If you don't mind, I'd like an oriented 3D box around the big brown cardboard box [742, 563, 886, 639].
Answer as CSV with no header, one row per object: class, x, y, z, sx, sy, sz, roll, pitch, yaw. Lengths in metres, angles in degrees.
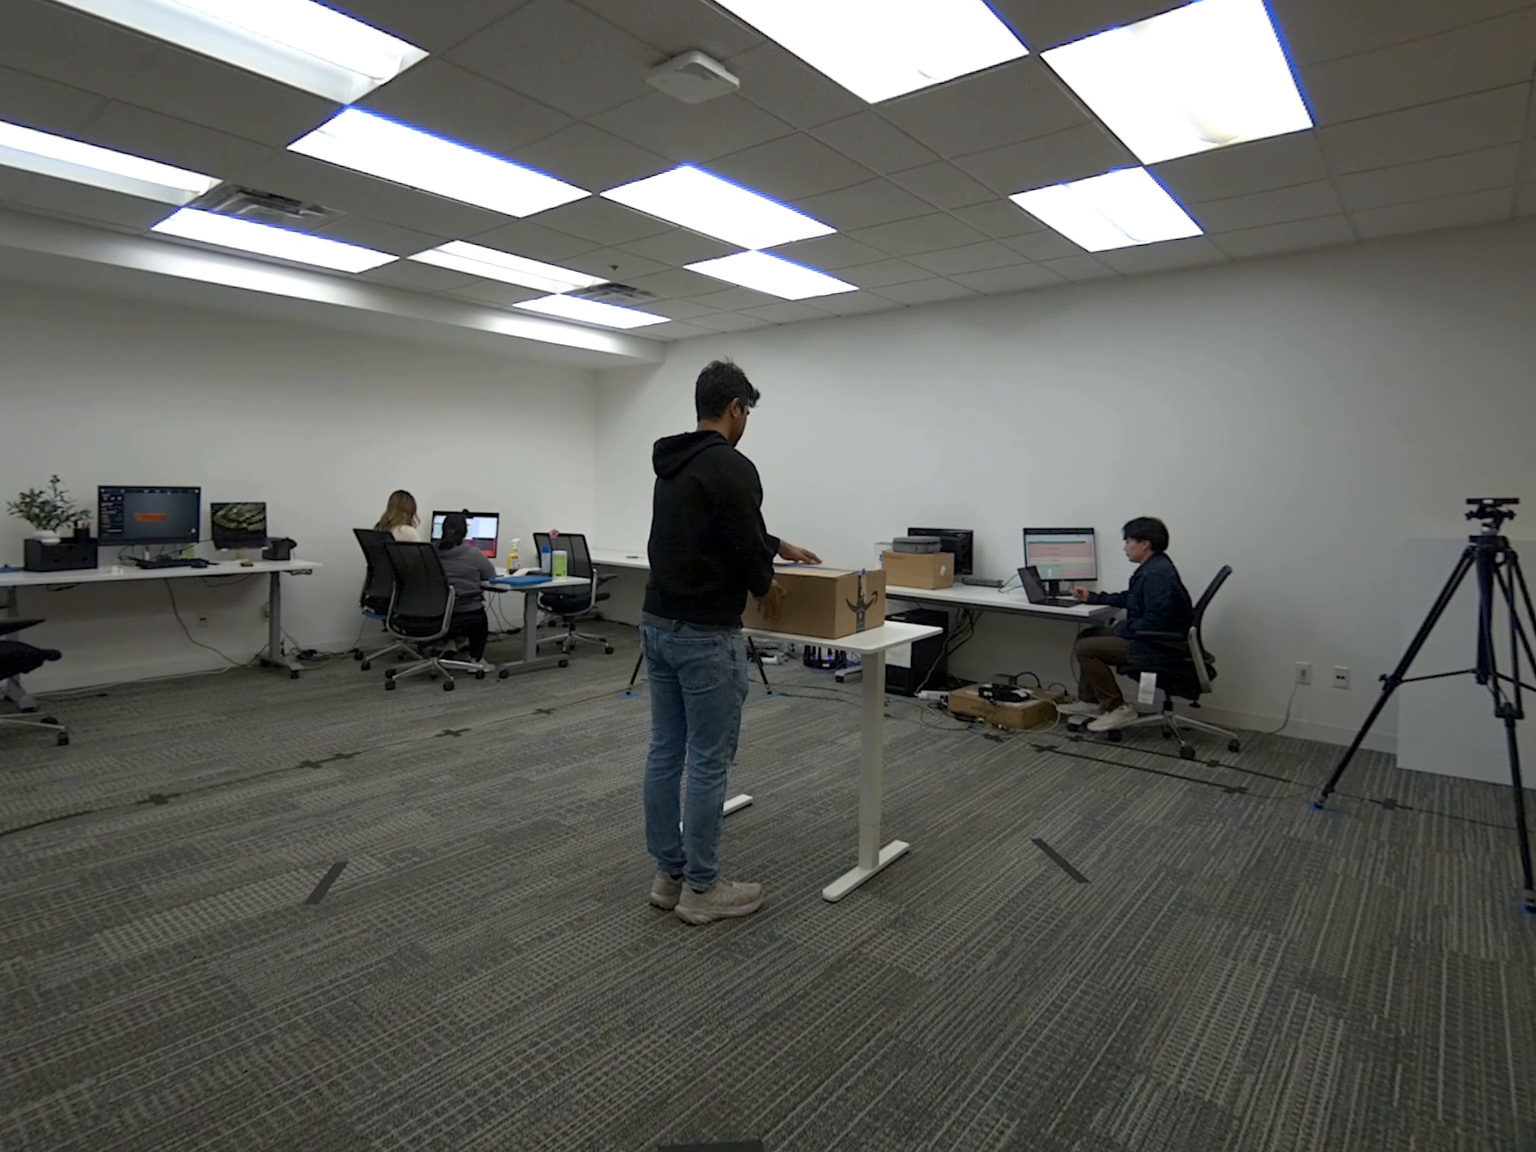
big brown cardboard box,0.083,0.069,3.219,0.608,0.232,0.406,6,7,33
